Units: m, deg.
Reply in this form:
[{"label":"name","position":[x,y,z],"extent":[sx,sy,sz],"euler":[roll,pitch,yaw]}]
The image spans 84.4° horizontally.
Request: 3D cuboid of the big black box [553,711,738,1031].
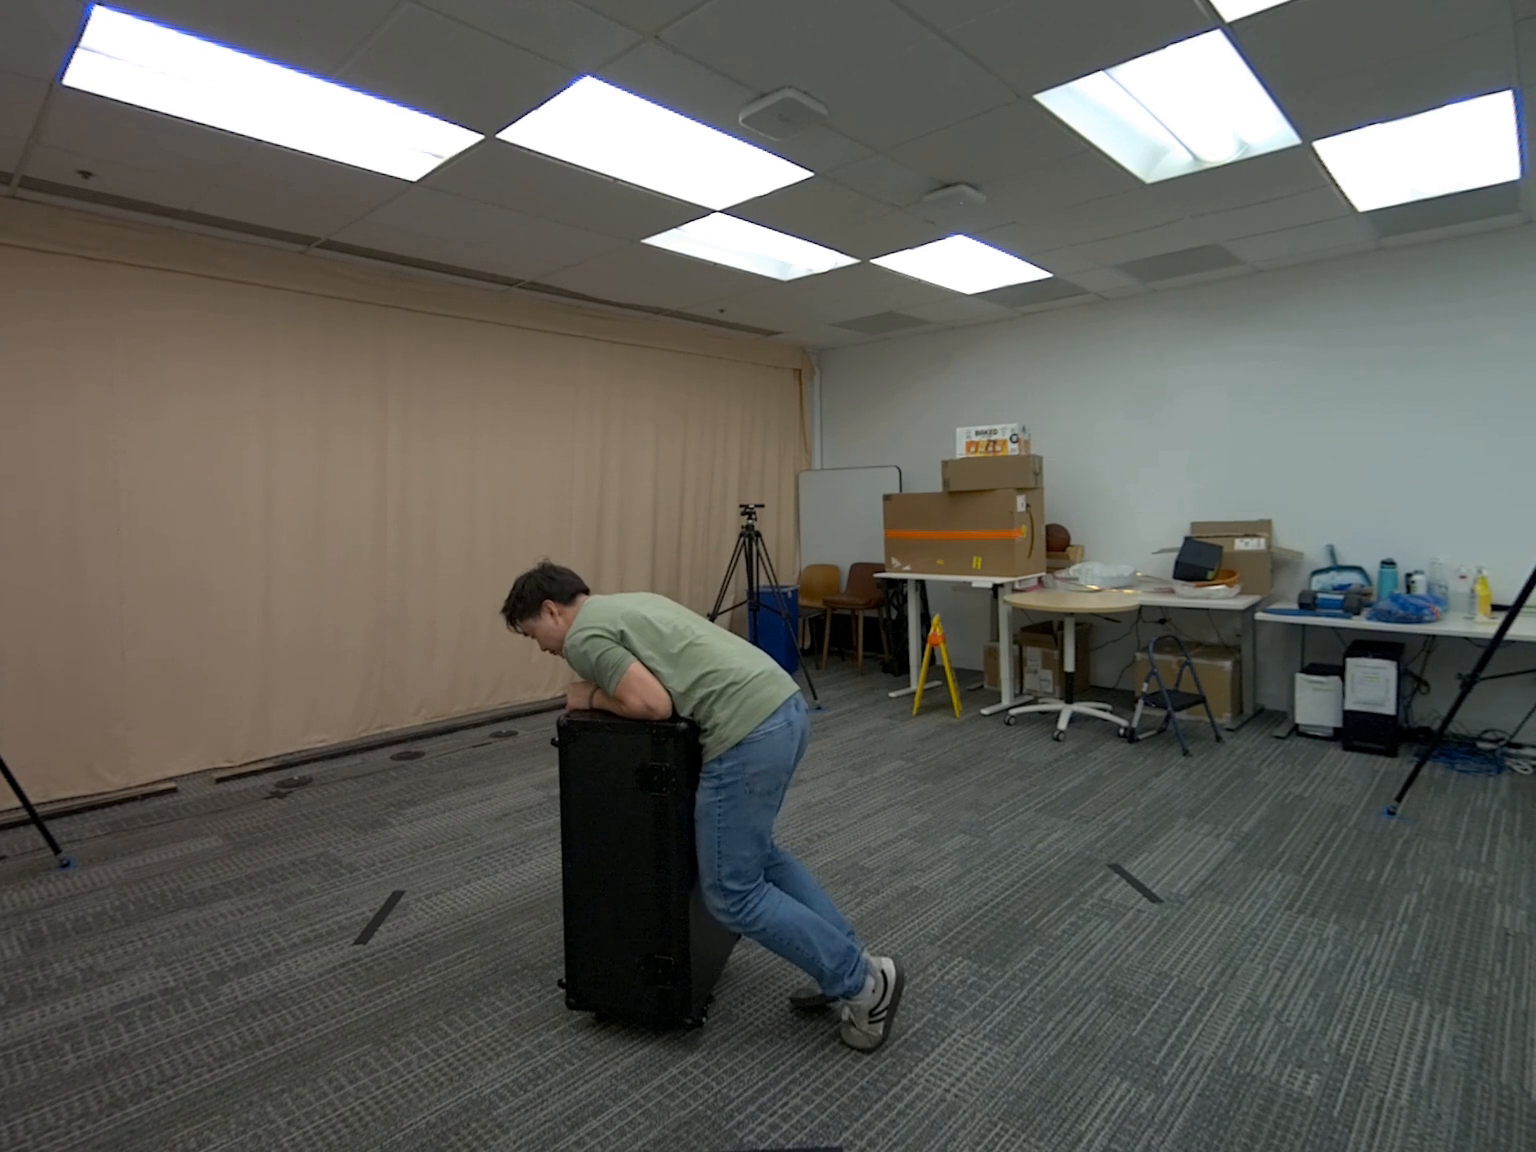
[{"label":"big black box","position":[-0.331,0.777,2.384],"extent":[0.403,0.859,0.514],"euler":[-1,4,15]}]
